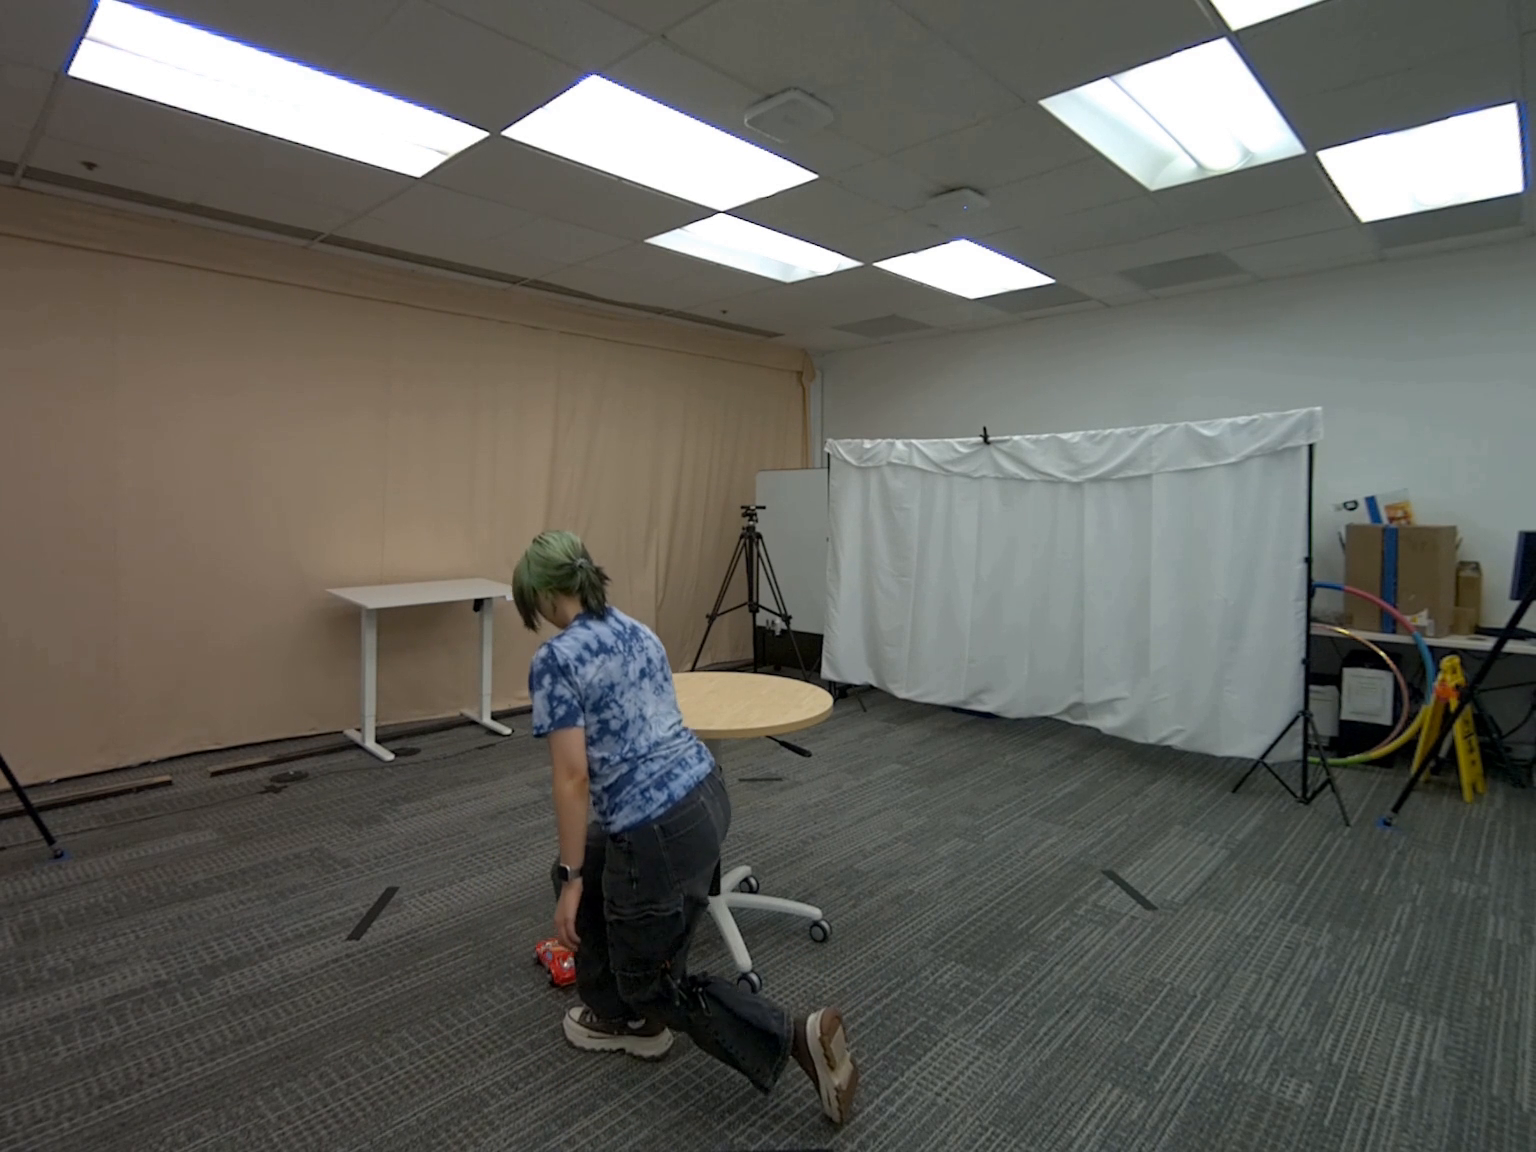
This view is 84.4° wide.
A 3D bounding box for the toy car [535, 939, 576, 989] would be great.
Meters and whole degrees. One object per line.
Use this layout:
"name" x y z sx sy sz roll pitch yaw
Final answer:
"toy car" -0.614 1.155 2.511 0.127 0.083 0.260 -5 -5 -31
